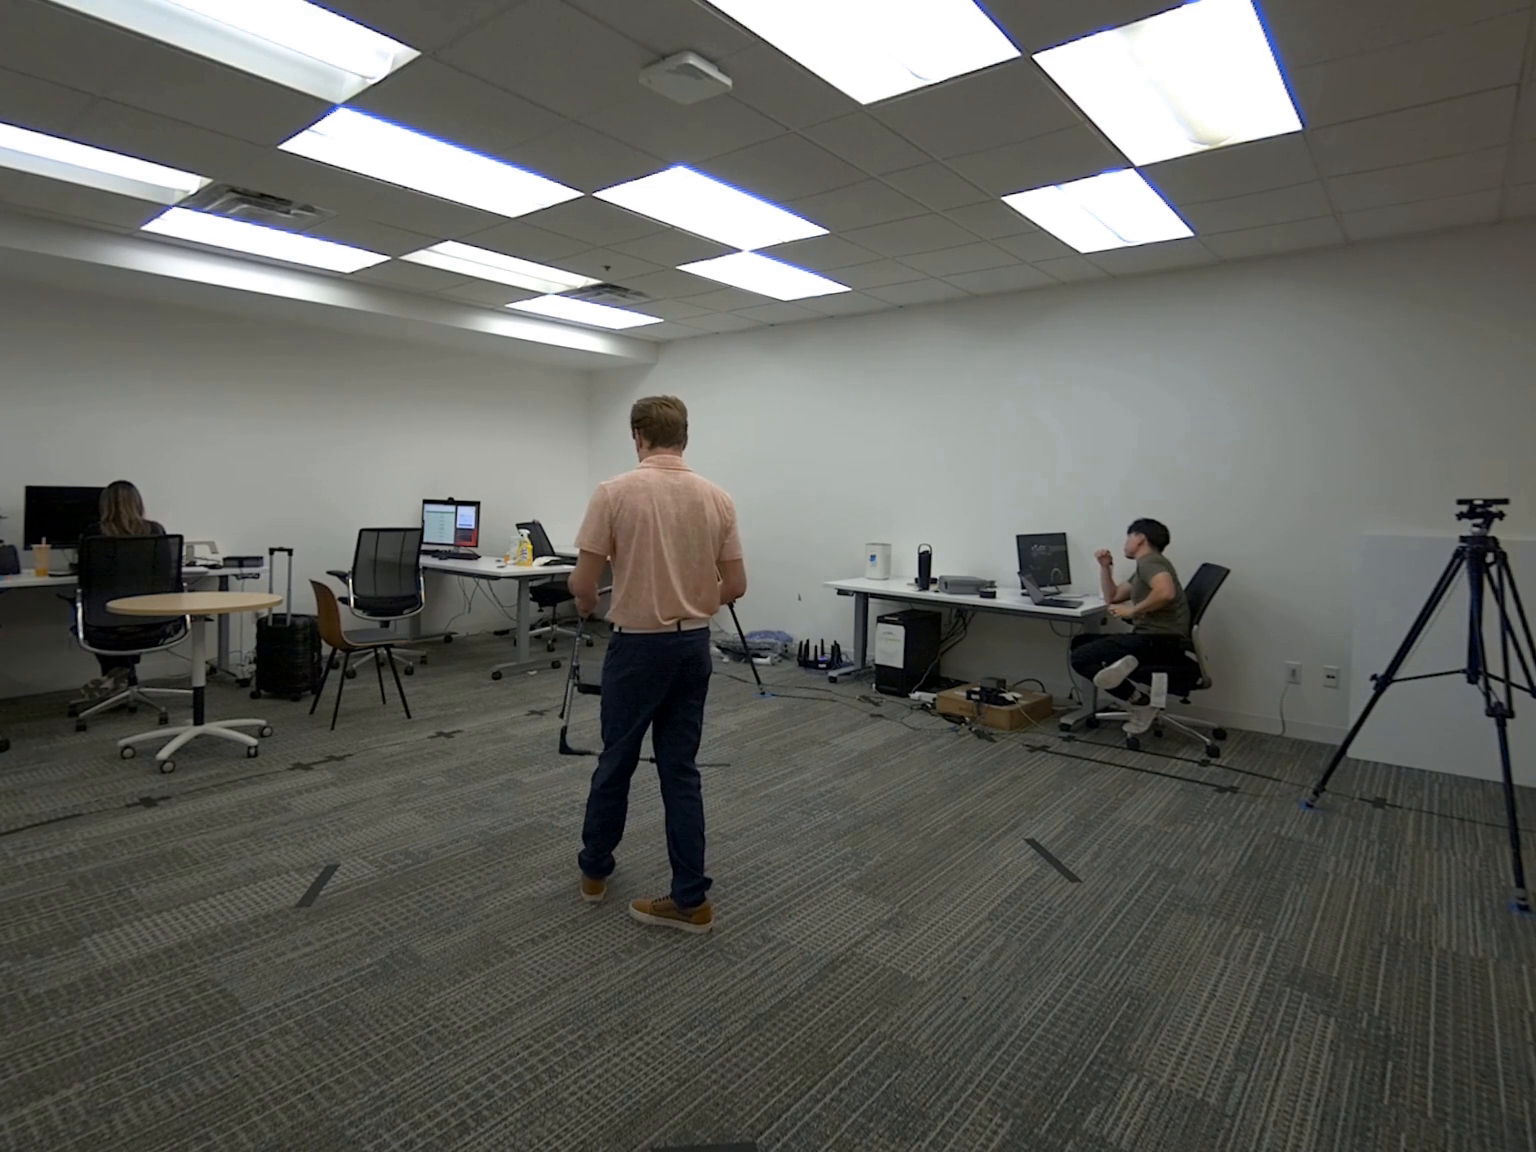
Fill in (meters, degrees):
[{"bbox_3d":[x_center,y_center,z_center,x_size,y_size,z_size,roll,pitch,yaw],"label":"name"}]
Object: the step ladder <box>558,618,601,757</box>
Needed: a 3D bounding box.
[{"bbox_3d":[-0.517,0.317,3.086,0.425,0.601,0.357,9,11,-12],"label":"step ladder"}]
